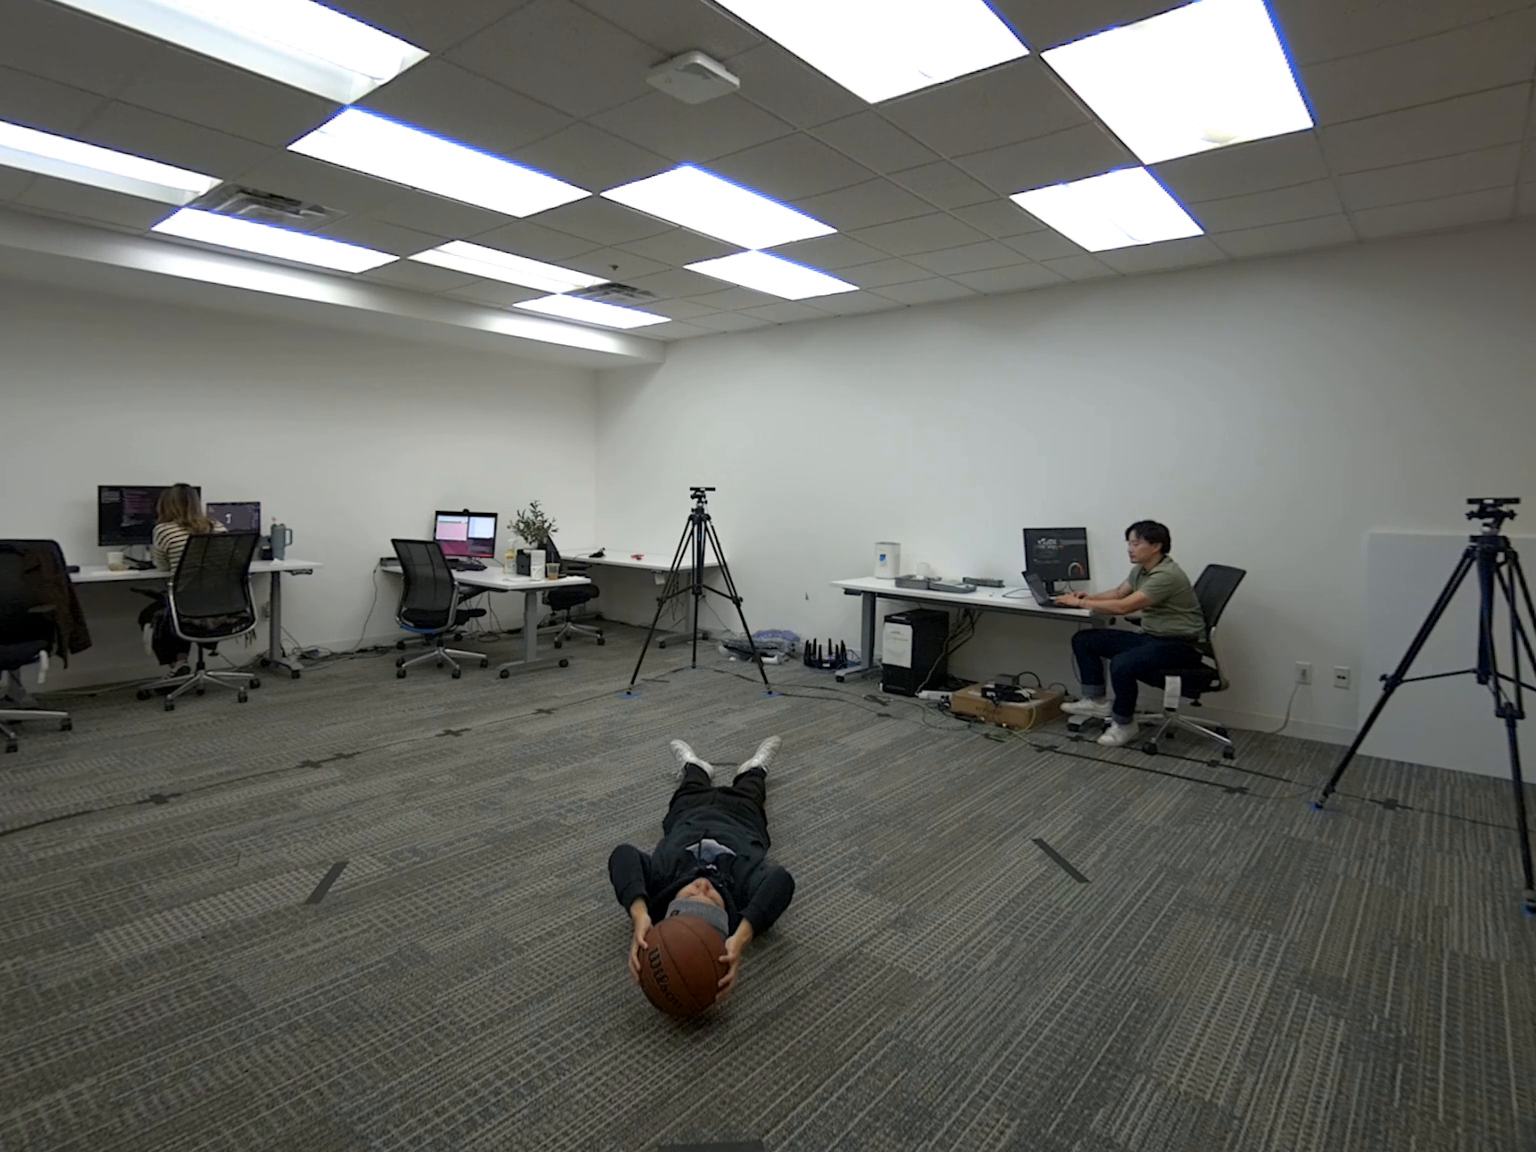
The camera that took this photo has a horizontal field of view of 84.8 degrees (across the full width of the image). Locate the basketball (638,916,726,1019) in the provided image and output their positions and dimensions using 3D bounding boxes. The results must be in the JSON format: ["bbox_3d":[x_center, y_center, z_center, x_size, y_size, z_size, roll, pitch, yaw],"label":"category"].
[{"bbox_3d":[-0.234,1.016,2.229,0.235,0.235,0.237,1,4,-2],"label":"basketball"}]
